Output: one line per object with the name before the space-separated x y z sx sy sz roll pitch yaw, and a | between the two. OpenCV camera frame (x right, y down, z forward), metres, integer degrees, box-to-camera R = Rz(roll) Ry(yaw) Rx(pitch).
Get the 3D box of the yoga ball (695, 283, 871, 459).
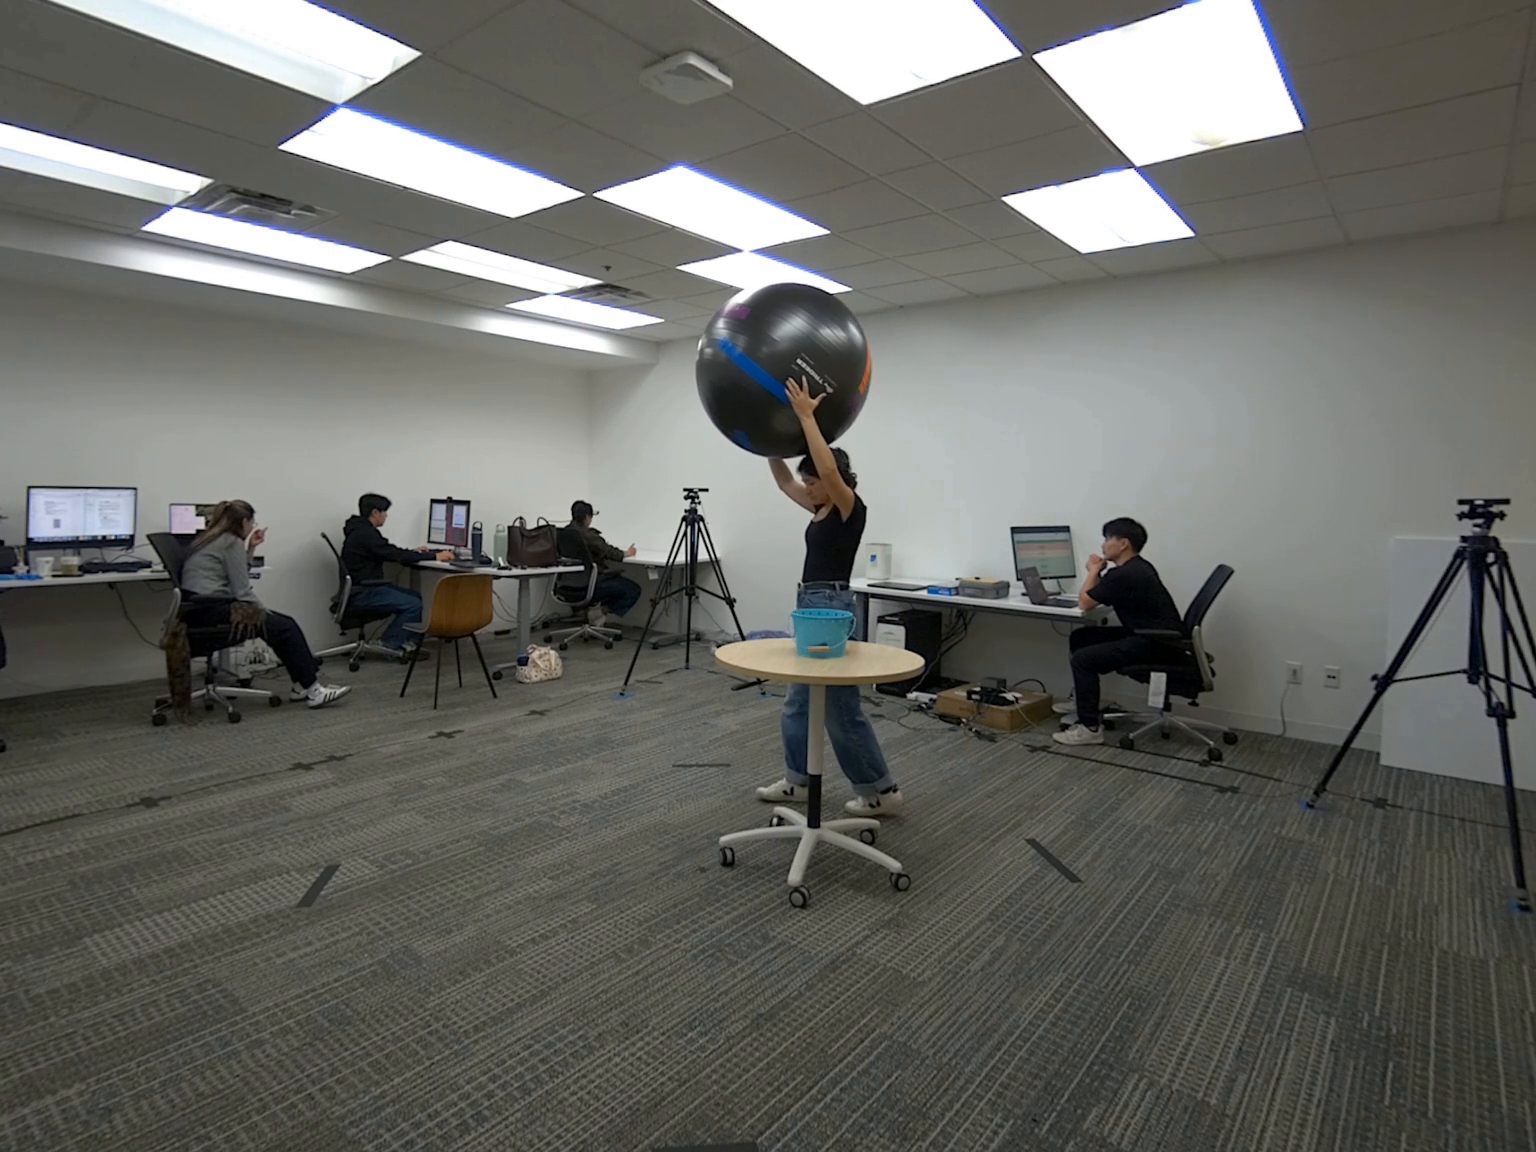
yoga ball | 0.061 -0.890 3.692 0.757 0.755 0.762 1 4 -2
